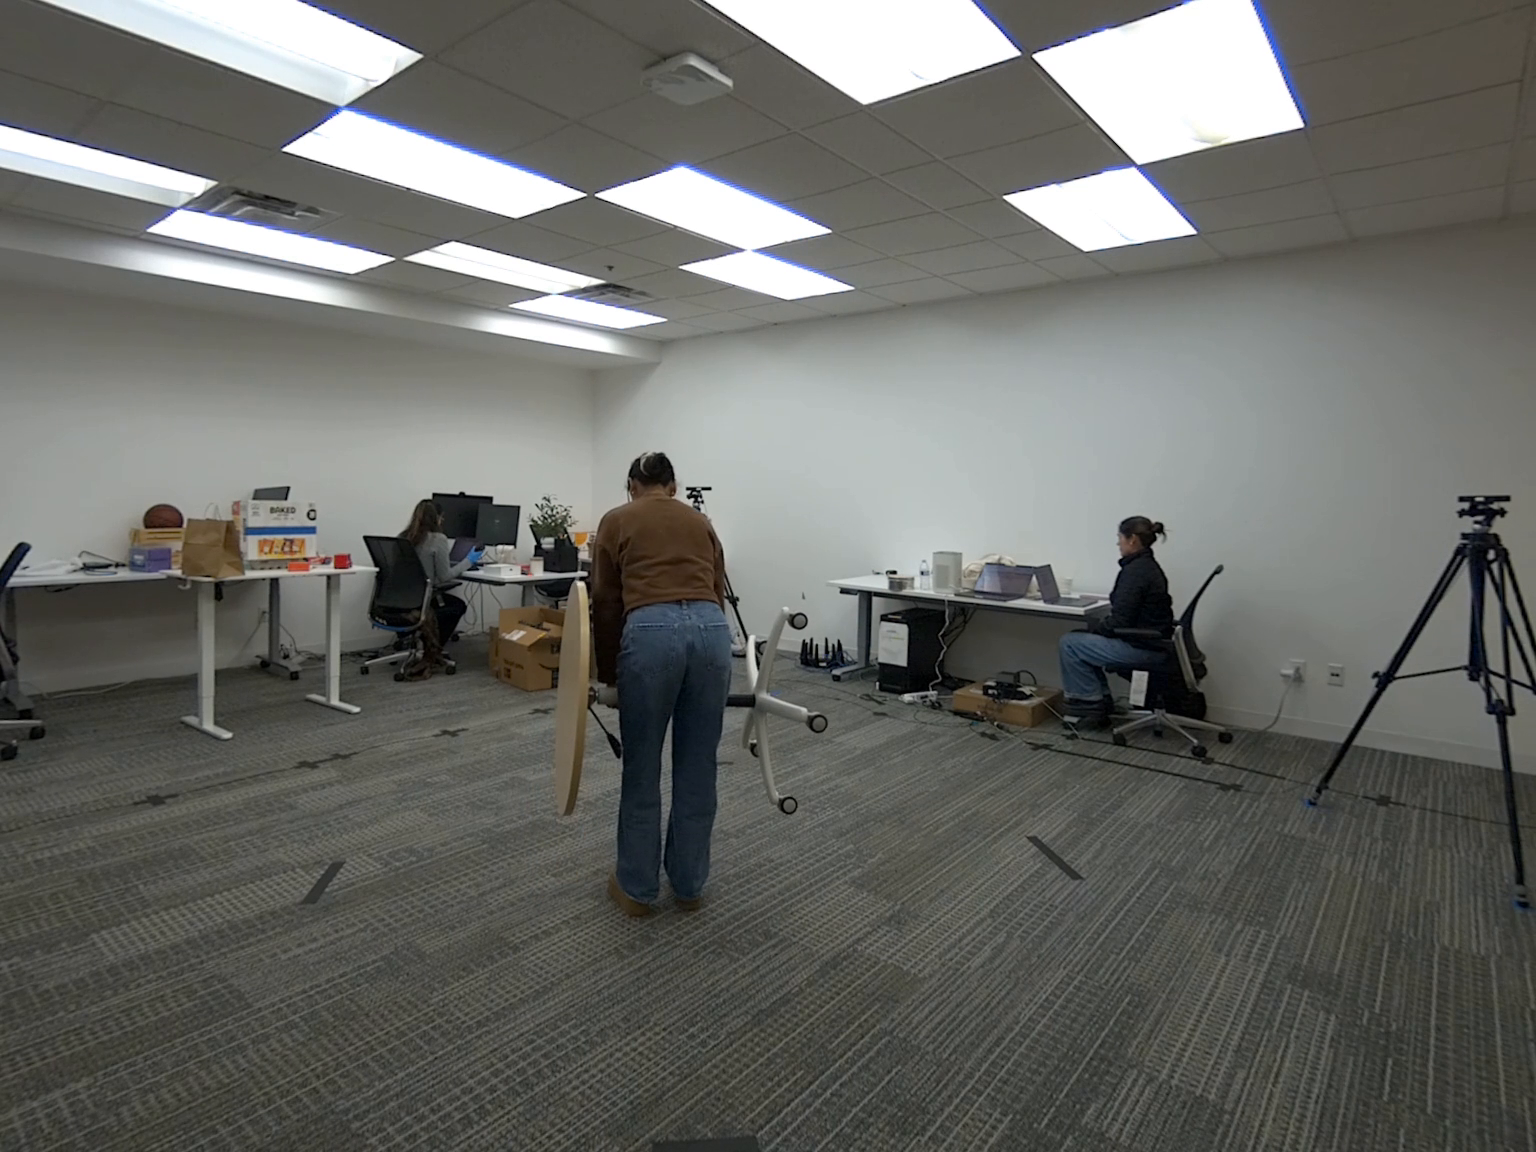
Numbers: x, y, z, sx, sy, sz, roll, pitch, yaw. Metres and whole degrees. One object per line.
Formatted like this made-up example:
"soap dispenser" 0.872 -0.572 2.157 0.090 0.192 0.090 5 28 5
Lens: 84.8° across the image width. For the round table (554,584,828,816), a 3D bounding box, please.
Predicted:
"round table" -0.300 0.437 2.945 0.780 0.763 0.779 5 3 -17
